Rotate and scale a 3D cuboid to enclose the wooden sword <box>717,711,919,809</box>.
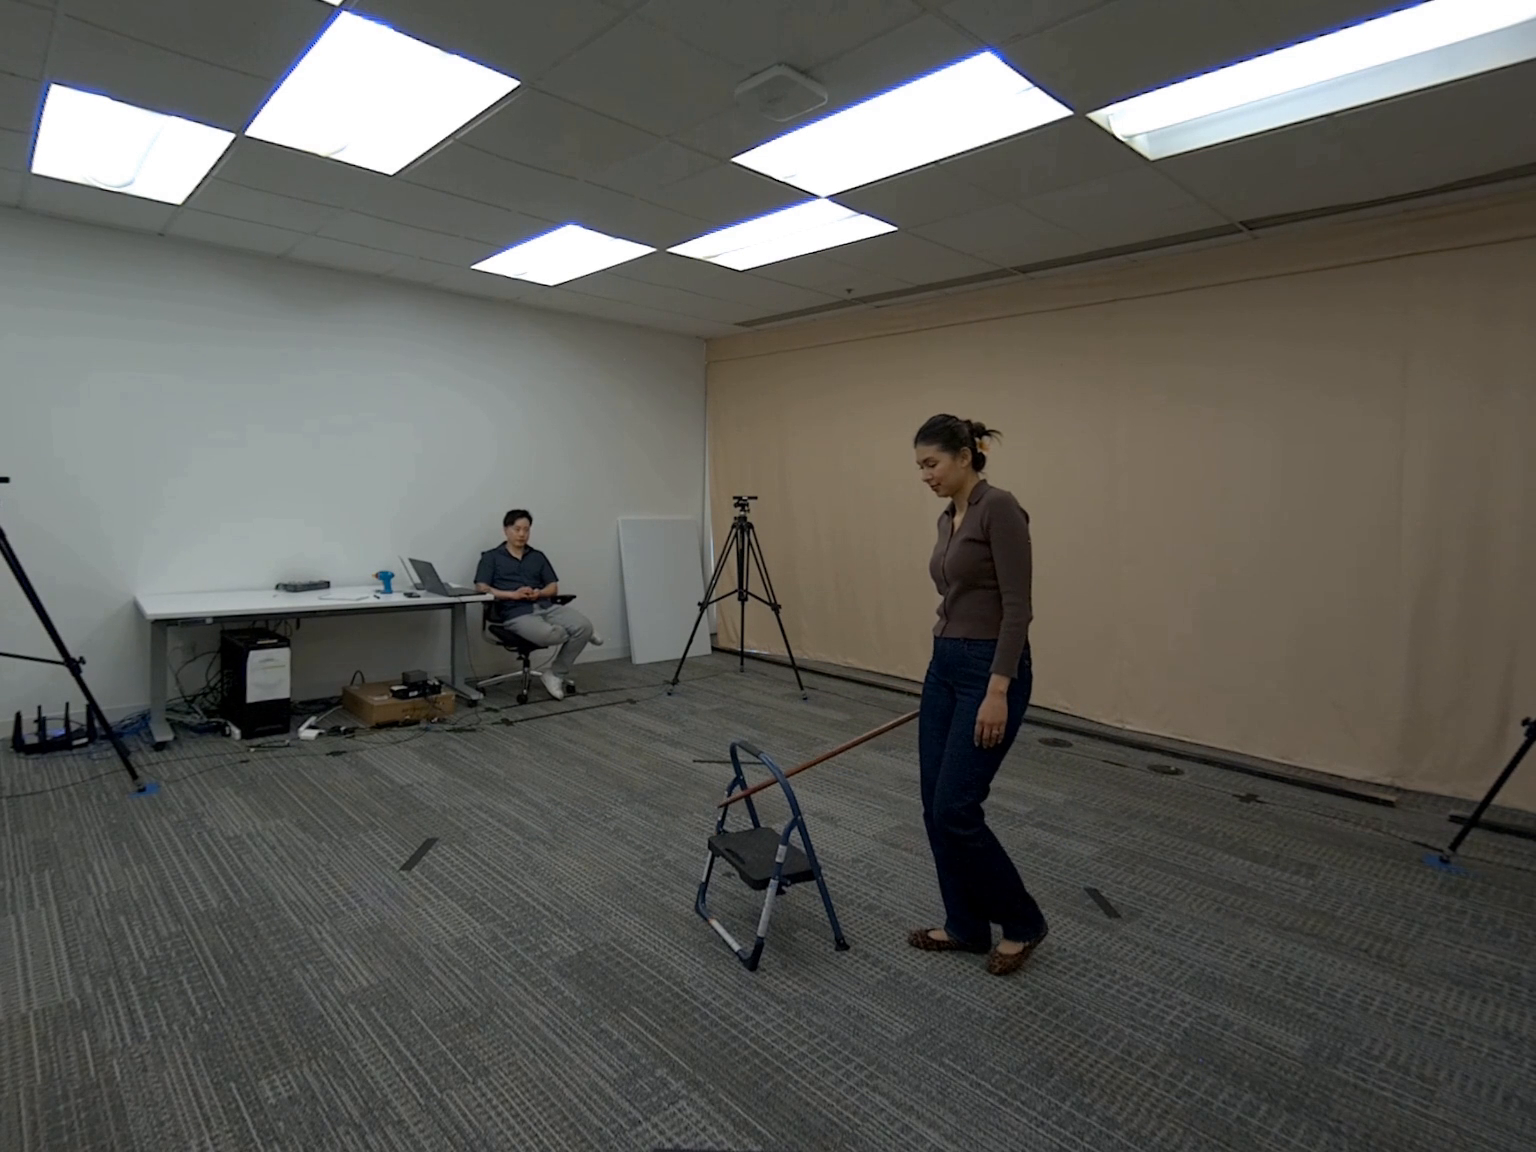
[{"bbox_3d":[0.321,0.544,2.786,1.017,0.050,0.025,-21,46,-16],"label":"wooden sword"}]
